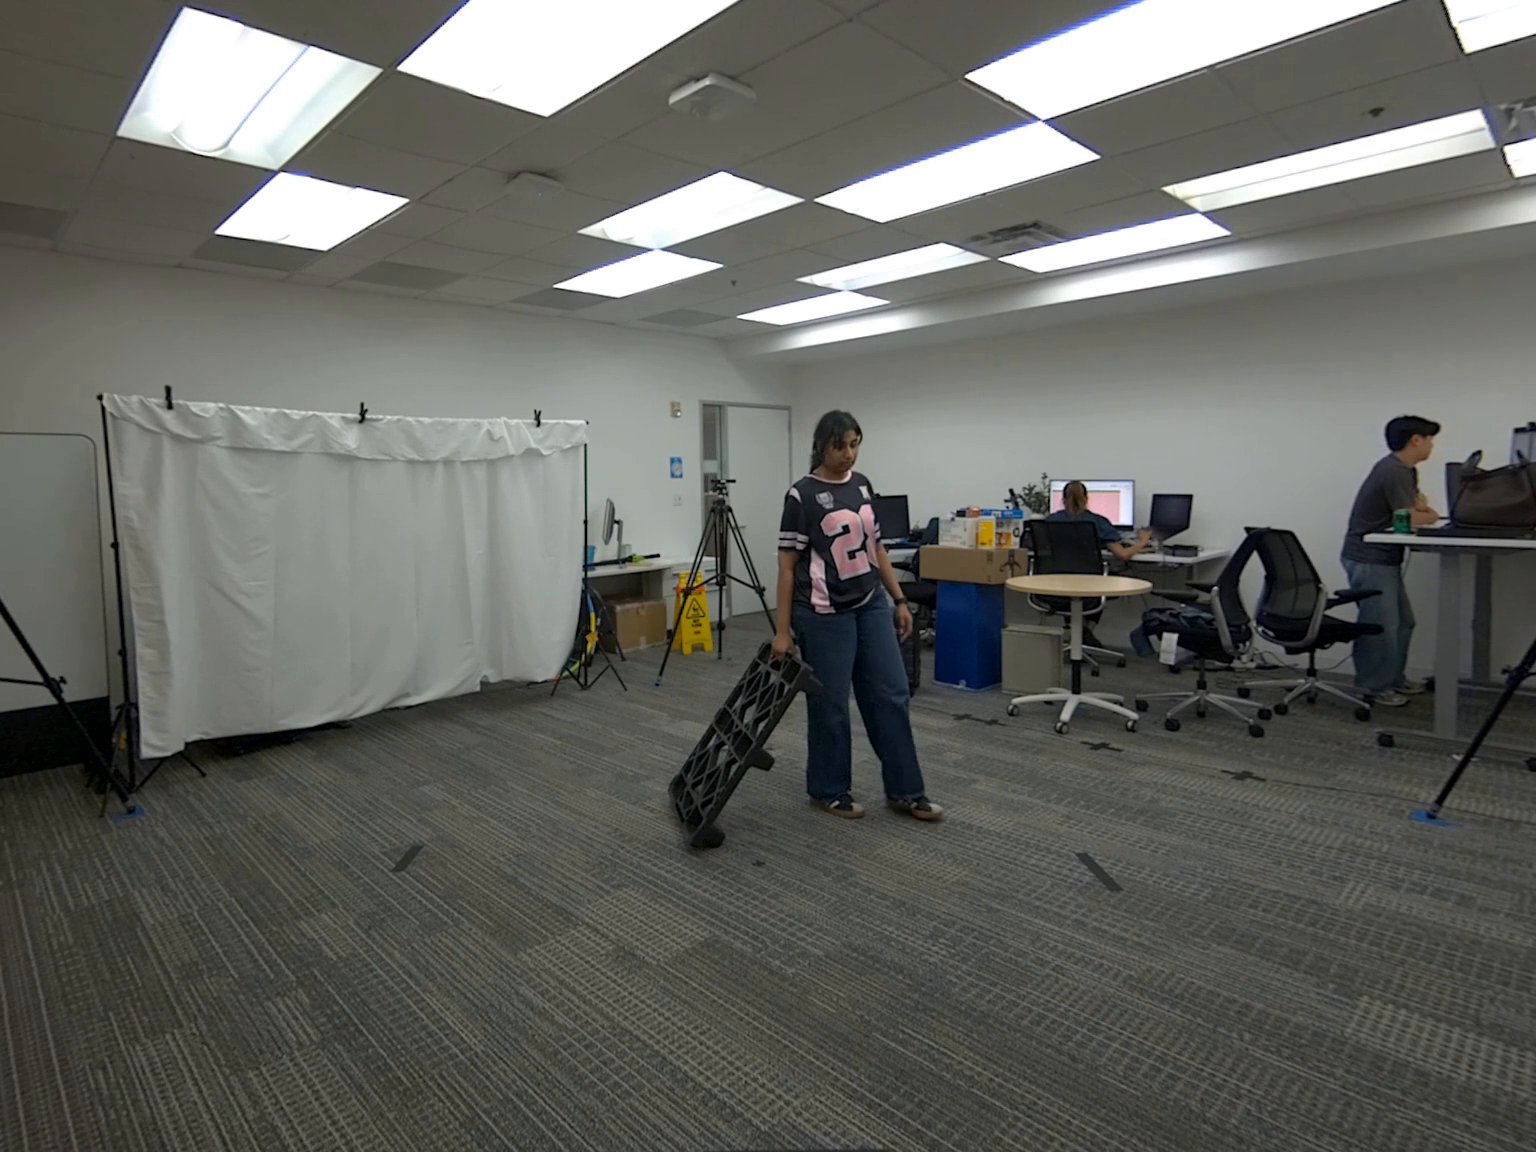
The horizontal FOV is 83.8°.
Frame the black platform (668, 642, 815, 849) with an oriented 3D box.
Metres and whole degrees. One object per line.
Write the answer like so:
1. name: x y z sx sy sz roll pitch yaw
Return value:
1. black platform: -0.102 0.670 3.489 0.141 0.806 0.615 34 -3 -15
